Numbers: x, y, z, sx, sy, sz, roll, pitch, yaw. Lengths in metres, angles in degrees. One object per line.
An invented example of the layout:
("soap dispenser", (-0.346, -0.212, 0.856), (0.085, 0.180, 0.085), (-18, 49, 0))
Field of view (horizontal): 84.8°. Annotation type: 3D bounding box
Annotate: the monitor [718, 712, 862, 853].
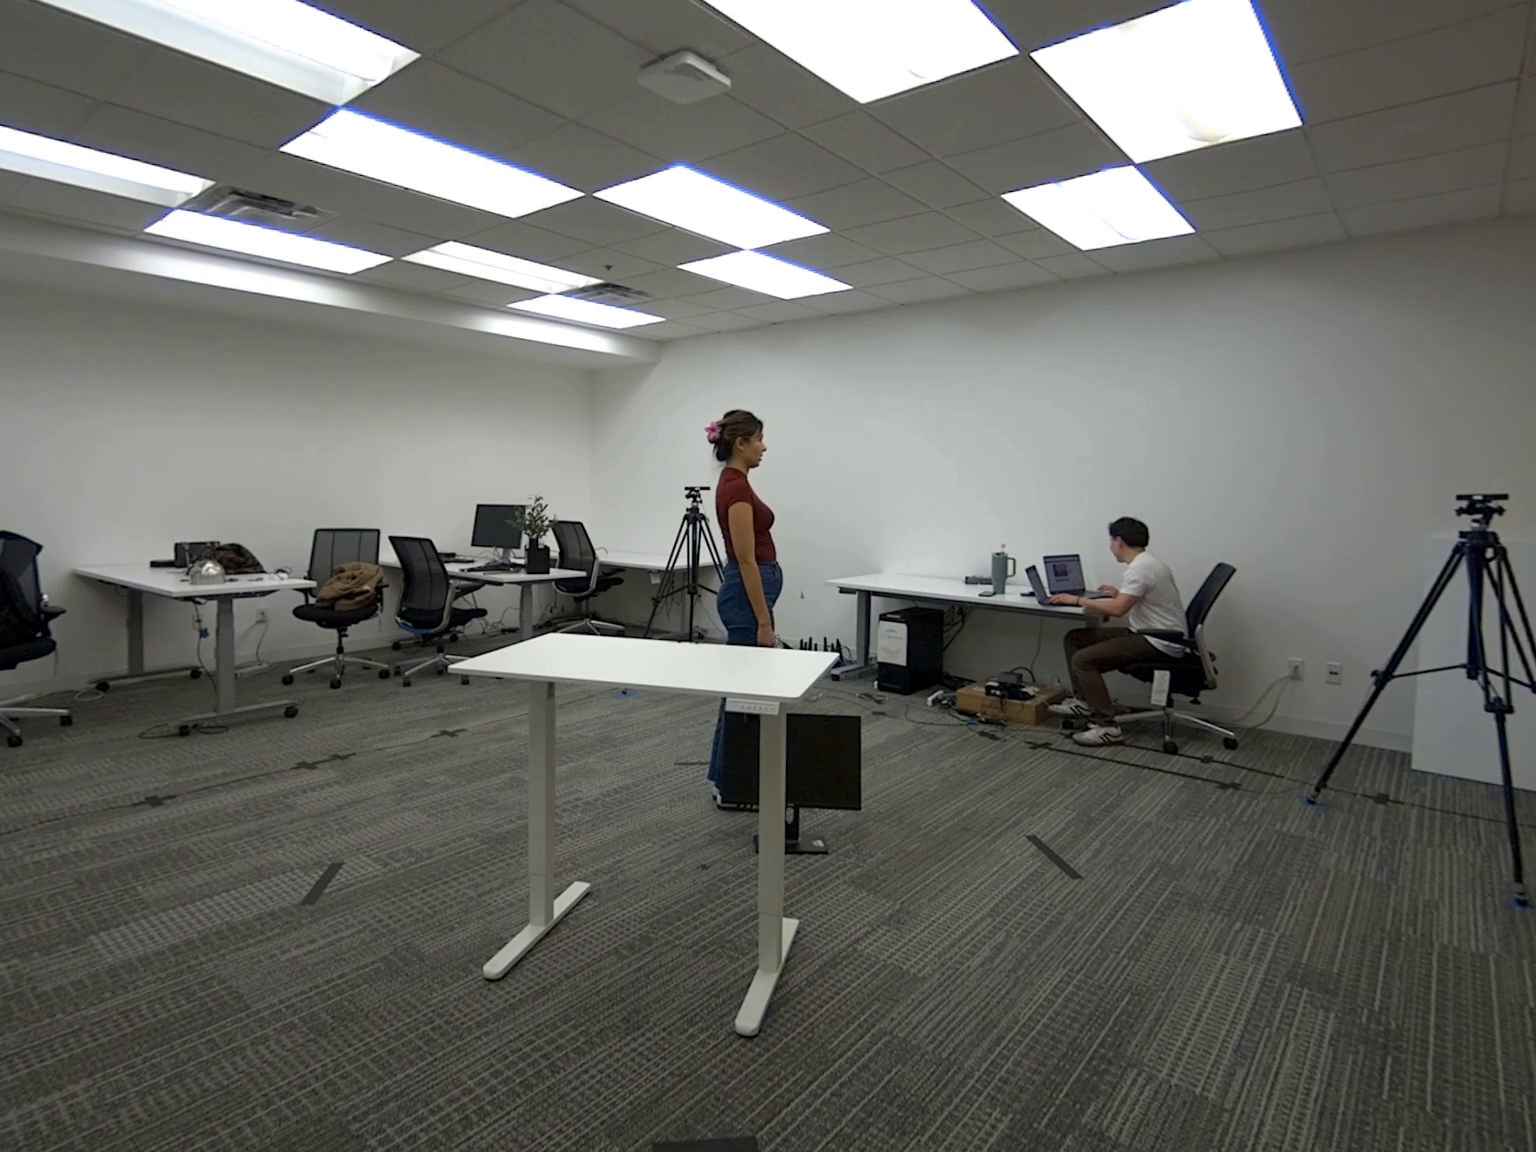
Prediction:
("monitor", (0.088, 0.800, 3.332), (0.542, 0.523, 0.186), (0, -1, 4))
